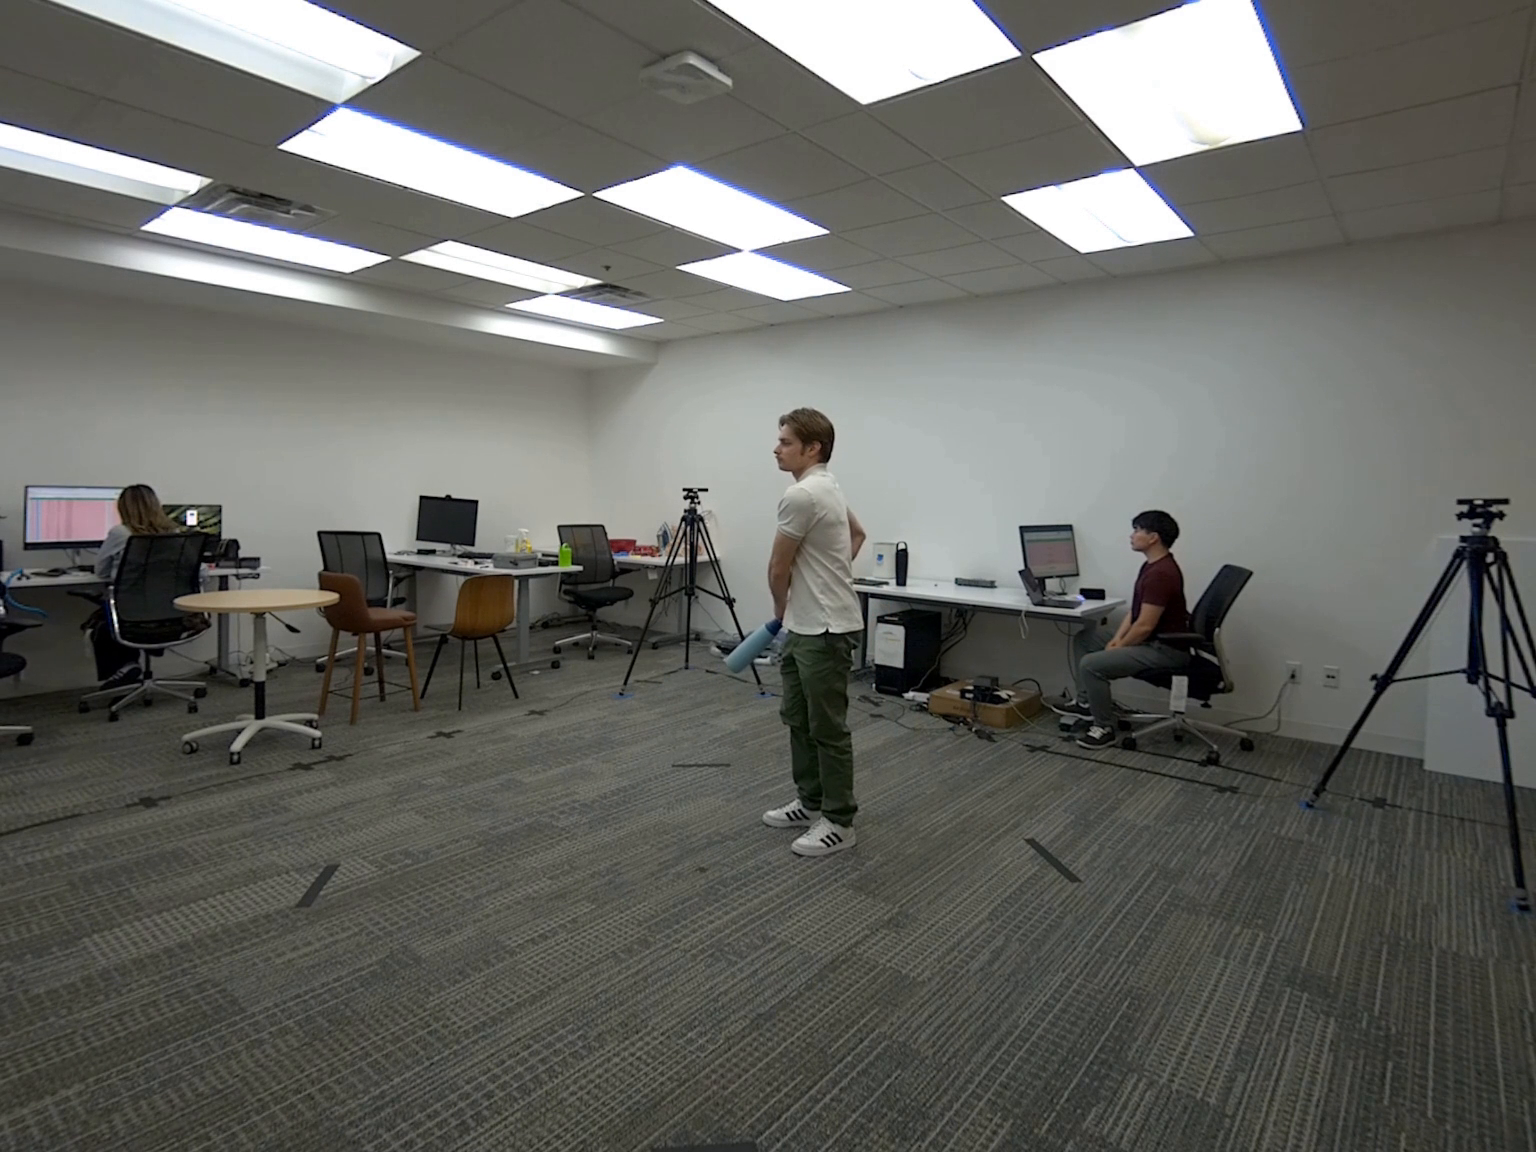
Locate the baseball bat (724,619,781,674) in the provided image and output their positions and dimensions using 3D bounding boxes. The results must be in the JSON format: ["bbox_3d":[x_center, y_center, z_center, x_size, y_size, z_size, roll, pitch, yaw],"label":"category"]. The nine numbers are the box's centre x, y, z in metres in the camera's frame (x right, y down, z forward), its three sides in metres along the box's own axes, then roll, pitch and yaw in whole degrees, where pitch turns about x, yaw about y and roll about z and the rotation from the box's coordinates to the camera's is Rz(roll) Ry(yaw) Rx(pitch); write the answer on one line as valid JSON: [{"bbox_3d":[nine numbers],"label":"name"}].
[{"bbox_3d":[0.021,0.222,3.614,0.087,0.544,0.091,42,15,-16],"label":"baseball bat"}]
